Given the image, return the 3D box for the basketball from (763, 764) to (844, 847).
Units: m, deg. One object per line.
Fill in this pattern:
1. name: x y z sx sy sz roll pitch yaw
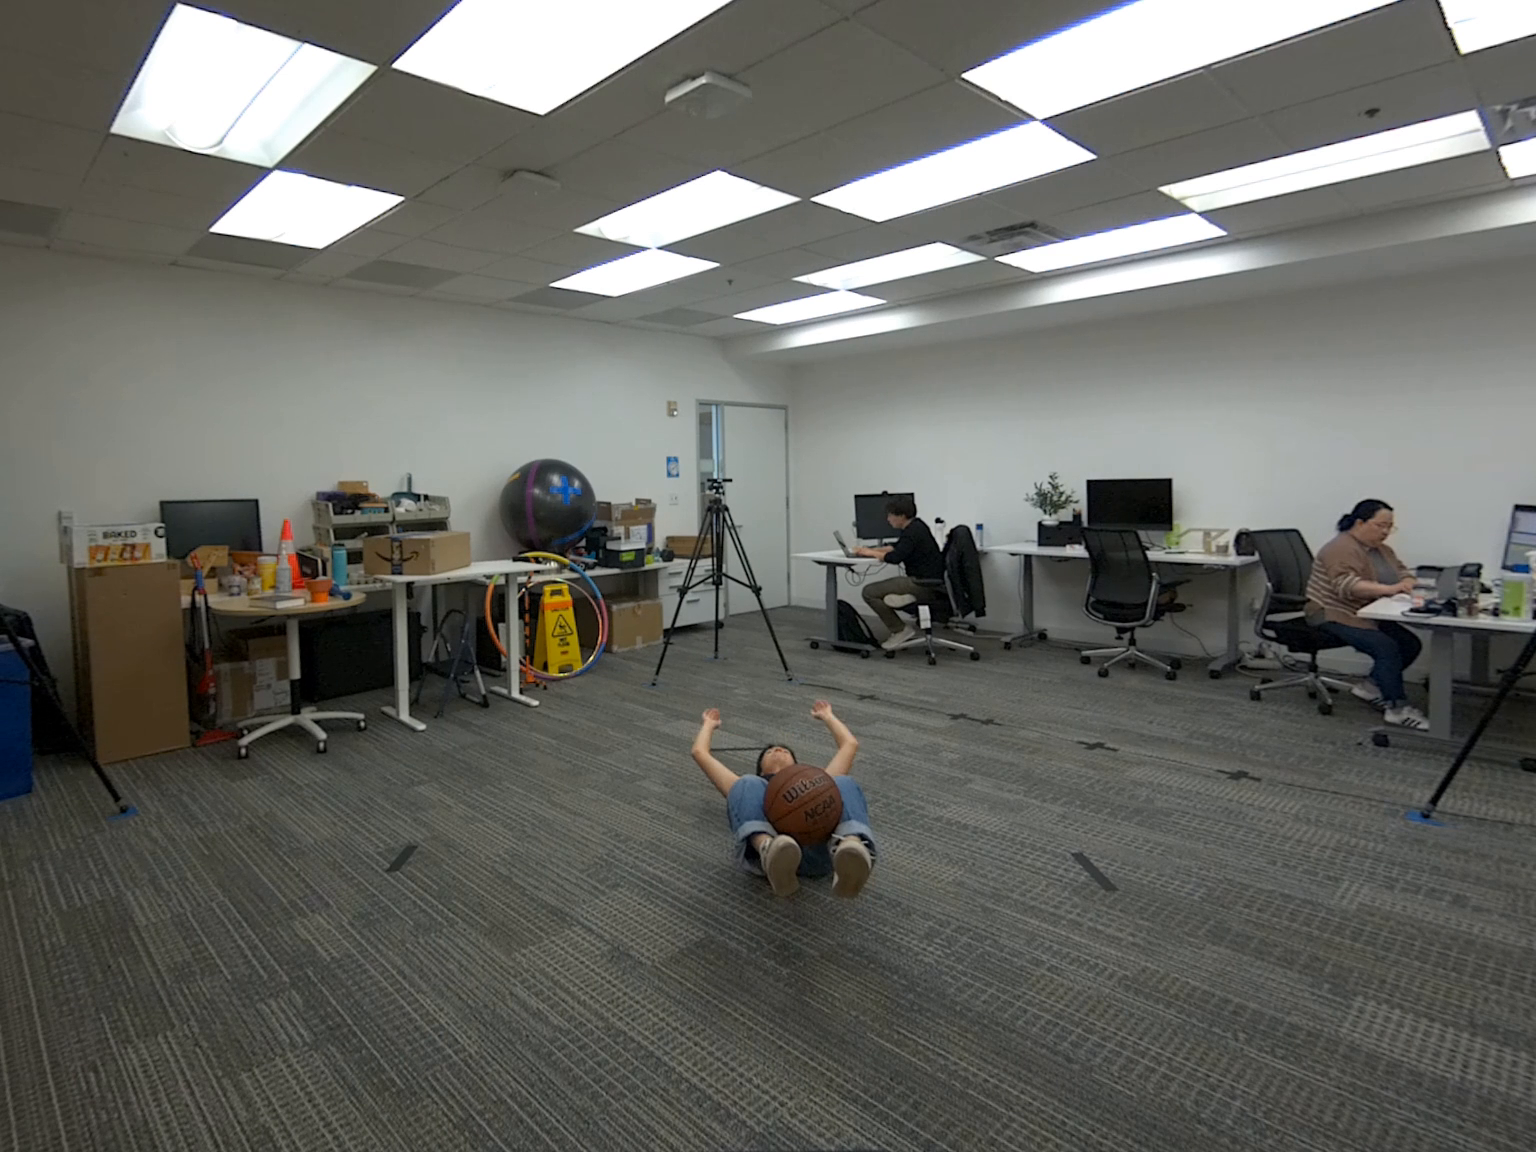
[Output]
1. basketball: 0.108 0.689 2.587 0.236 0.235 0.237 -1 5 -2
